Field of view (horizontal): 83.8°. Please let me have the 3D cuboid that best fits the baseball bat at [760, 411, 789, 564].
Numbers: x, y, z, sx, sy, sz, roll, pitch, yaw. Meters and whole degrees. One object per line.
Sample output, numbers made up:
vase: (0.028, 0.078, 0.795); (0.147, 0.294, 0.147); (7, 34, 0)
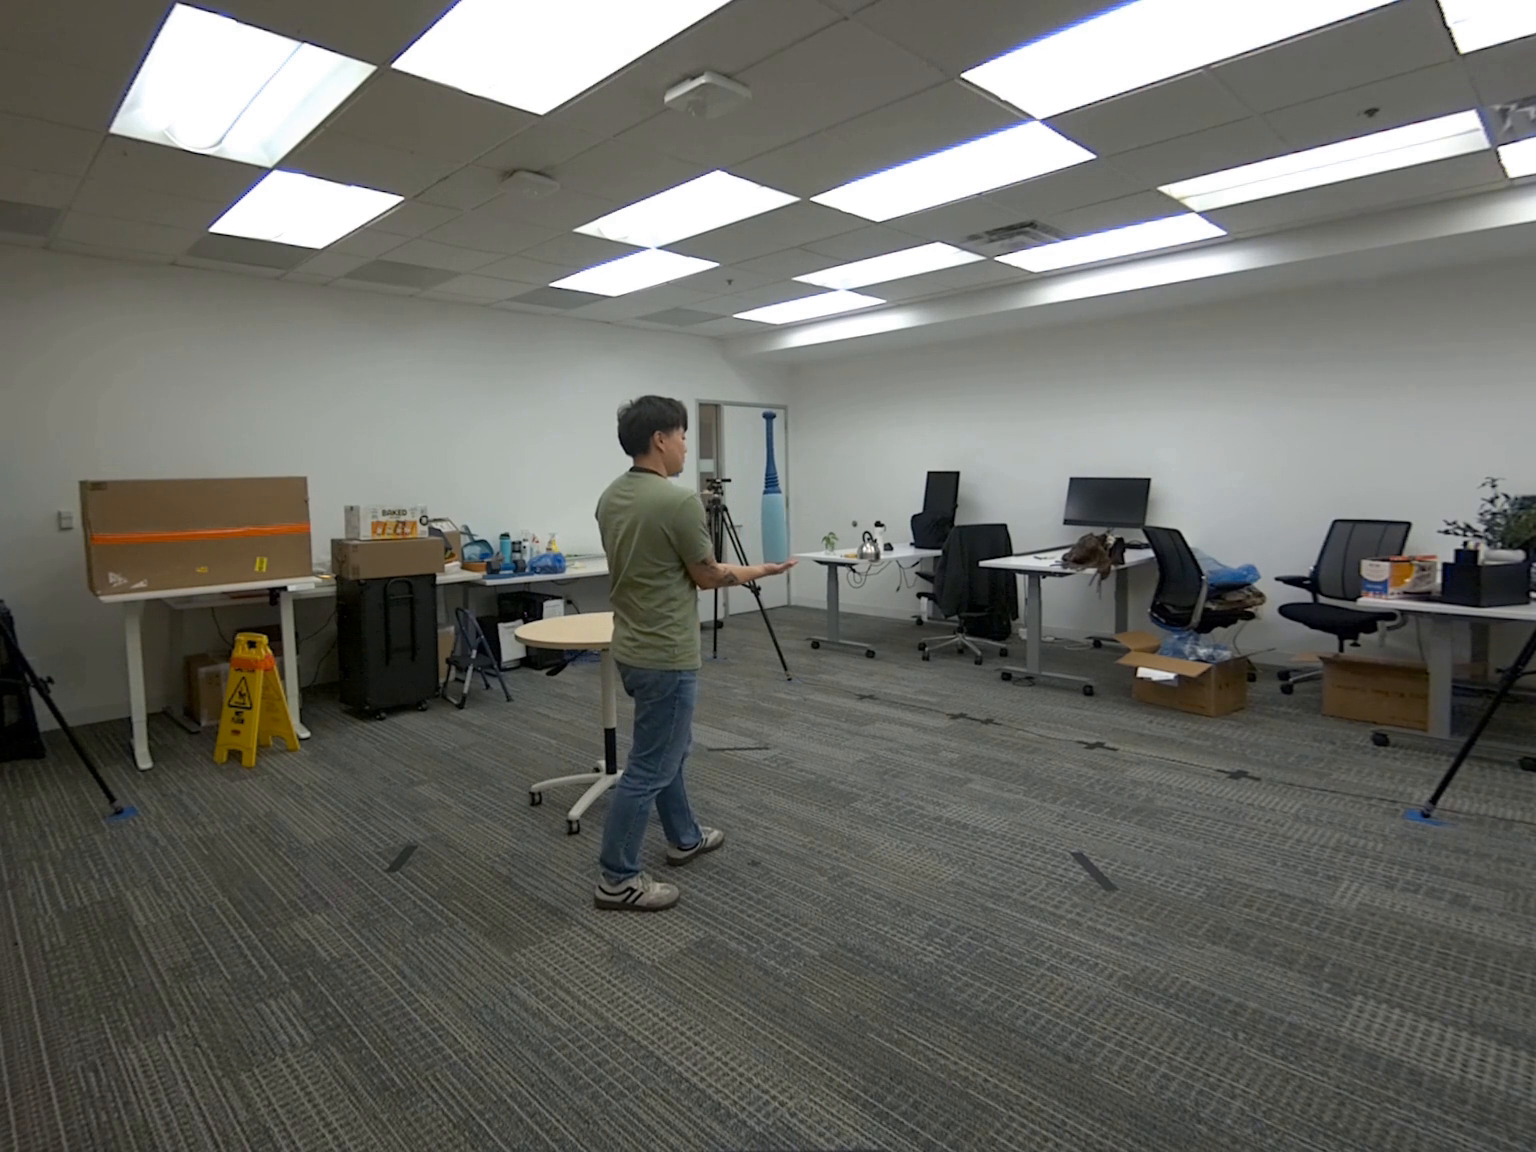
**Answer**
baseball bat: (0.017, -0.314, 3.008); (0.089, 0.544, 0.089); (-2, -2, -2)
